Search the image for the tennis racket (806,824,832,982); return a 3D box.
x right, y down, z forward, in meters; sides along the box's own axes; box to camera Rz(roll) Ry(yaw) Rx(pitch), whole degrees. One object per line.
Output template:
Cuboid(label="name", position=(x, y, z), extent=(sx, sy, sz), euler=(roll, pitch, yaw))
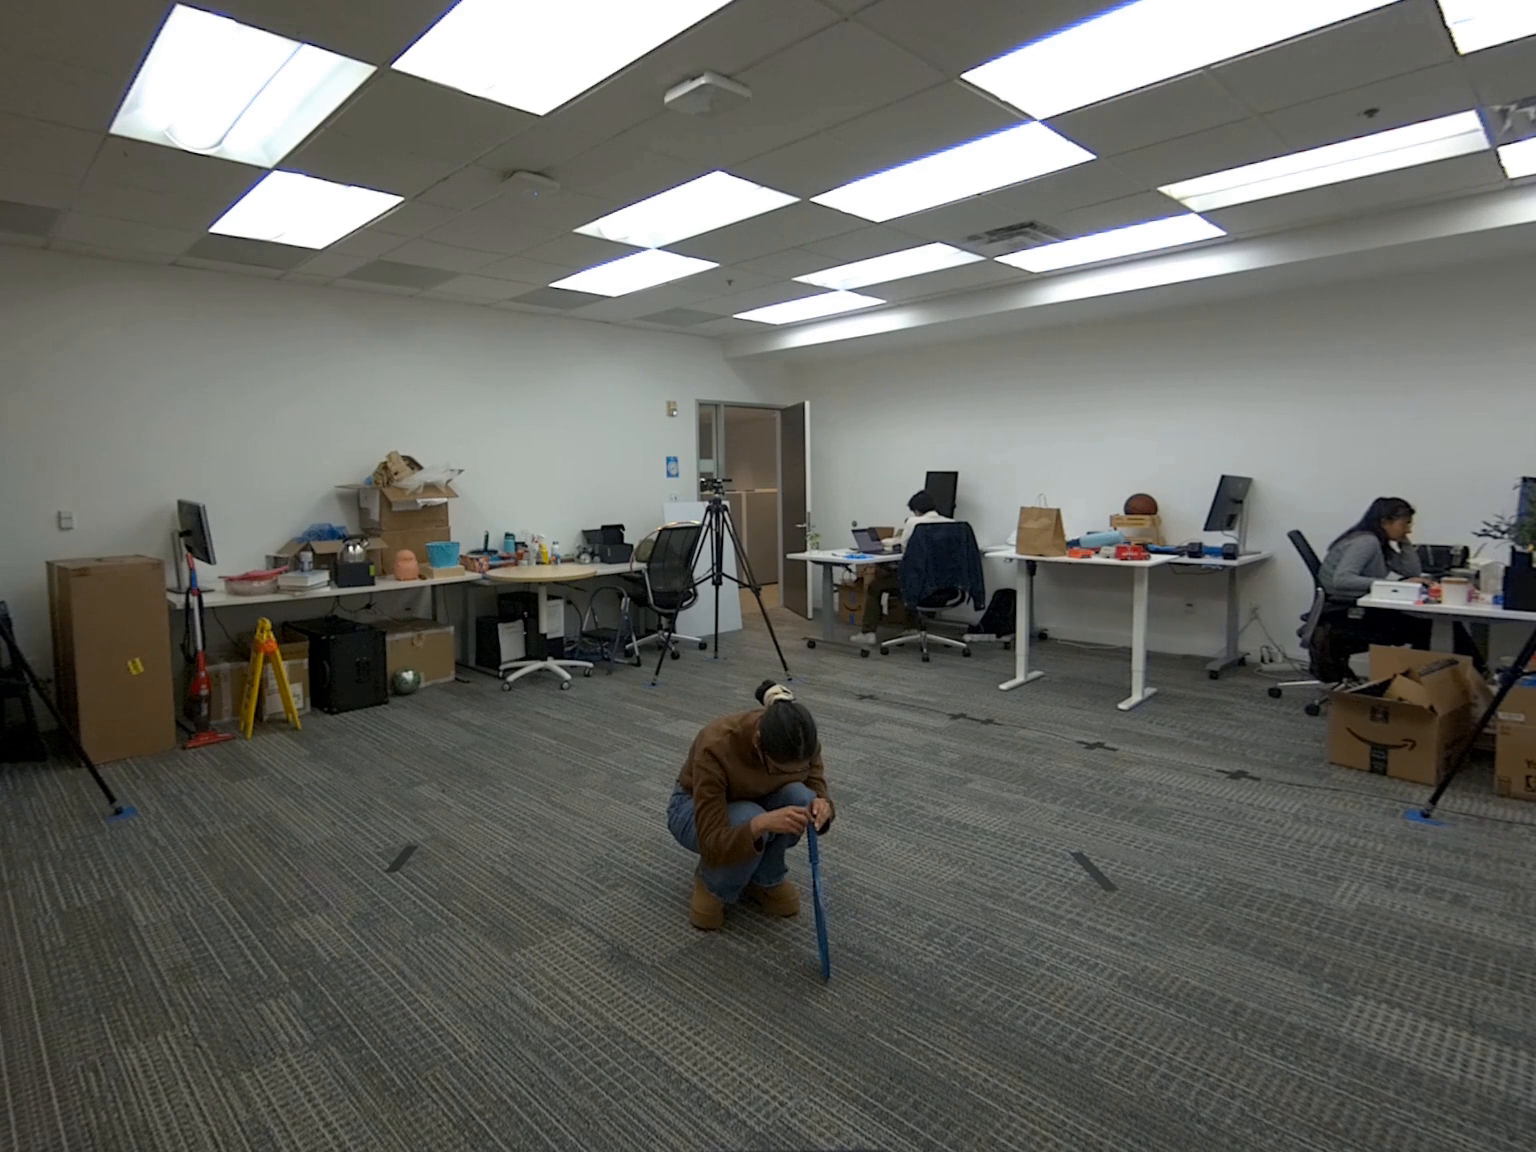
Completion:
Cuboid(label="tennis racket", position=(0.141, 0.913, 2.410), extent=(0.031, 0.435, 0.214), euler=(-4, -6, -8))
